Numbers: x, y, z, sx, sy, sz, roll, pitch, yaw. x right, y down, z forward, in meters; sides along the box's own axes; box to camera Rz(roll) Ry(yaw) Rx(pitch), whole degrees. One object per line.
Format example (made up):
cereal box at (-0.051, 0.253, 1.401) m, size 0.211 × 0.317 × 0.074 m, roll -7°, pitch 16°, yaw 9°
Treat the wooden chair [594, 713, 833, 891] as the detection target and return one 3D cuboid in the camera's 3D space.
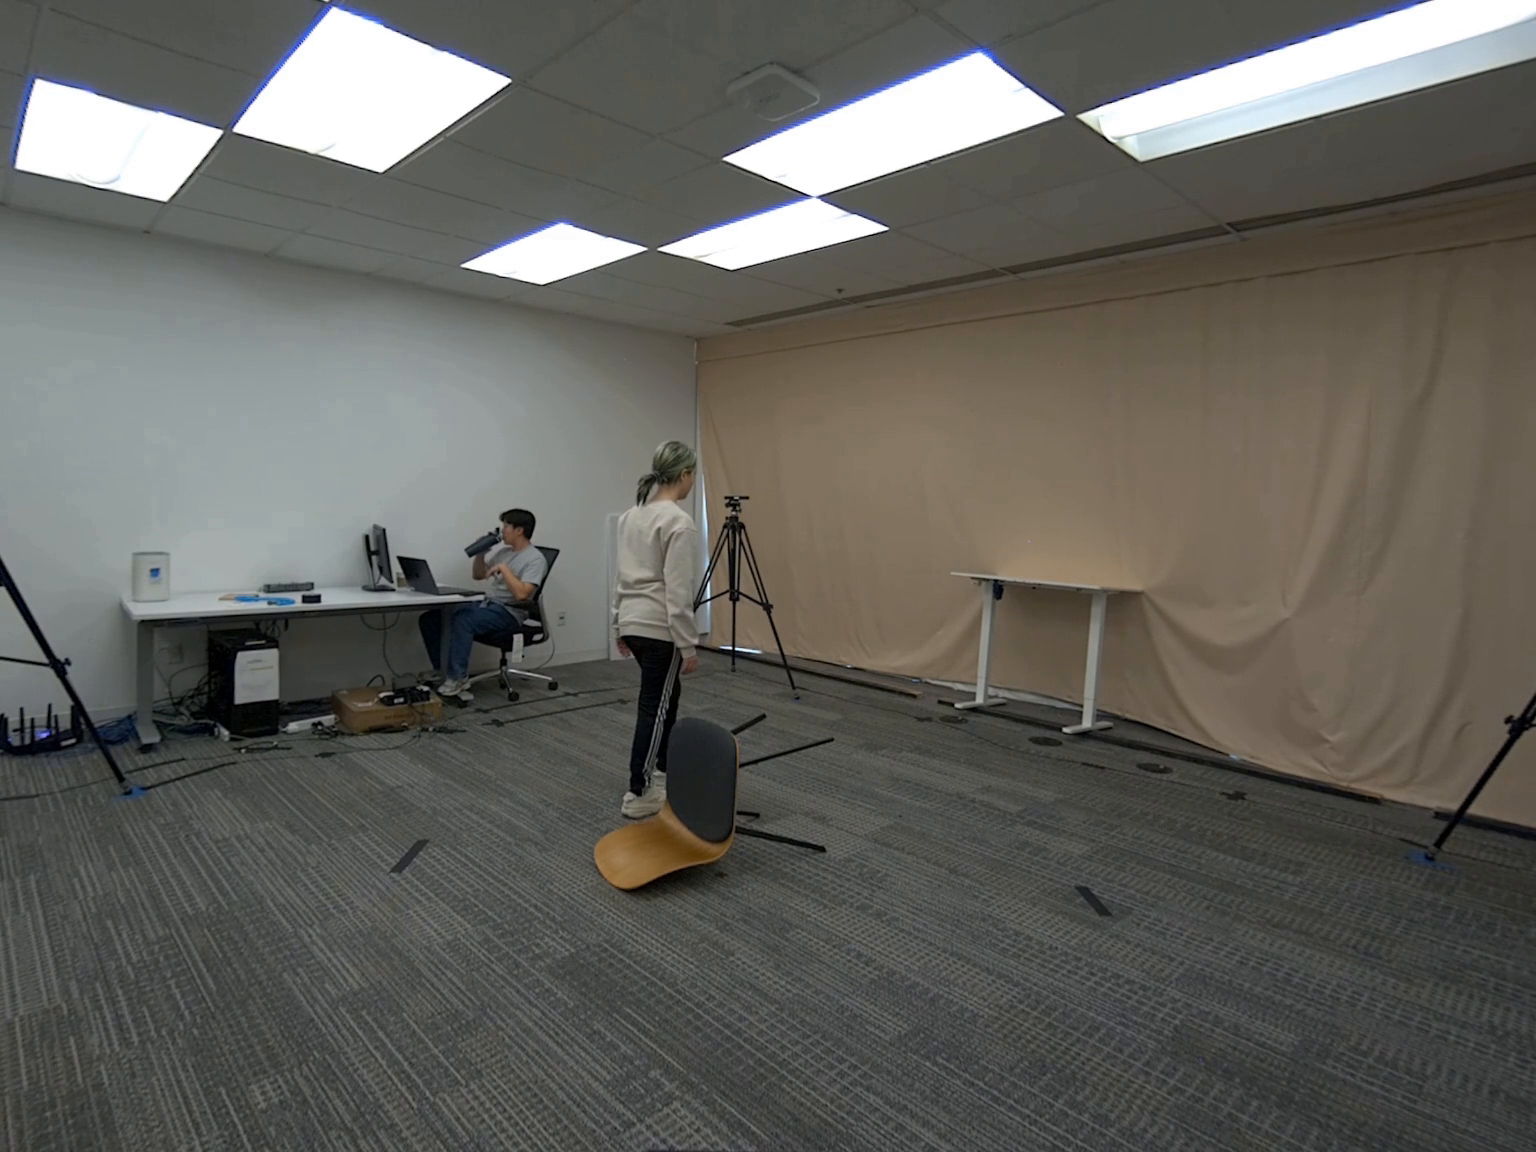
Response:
wooden chair at (-0.233, 0.830, 3.264) m, size 0.859 × 0.521 × 0.490 m, roll -4°, pitch 6°, yaw -36°
